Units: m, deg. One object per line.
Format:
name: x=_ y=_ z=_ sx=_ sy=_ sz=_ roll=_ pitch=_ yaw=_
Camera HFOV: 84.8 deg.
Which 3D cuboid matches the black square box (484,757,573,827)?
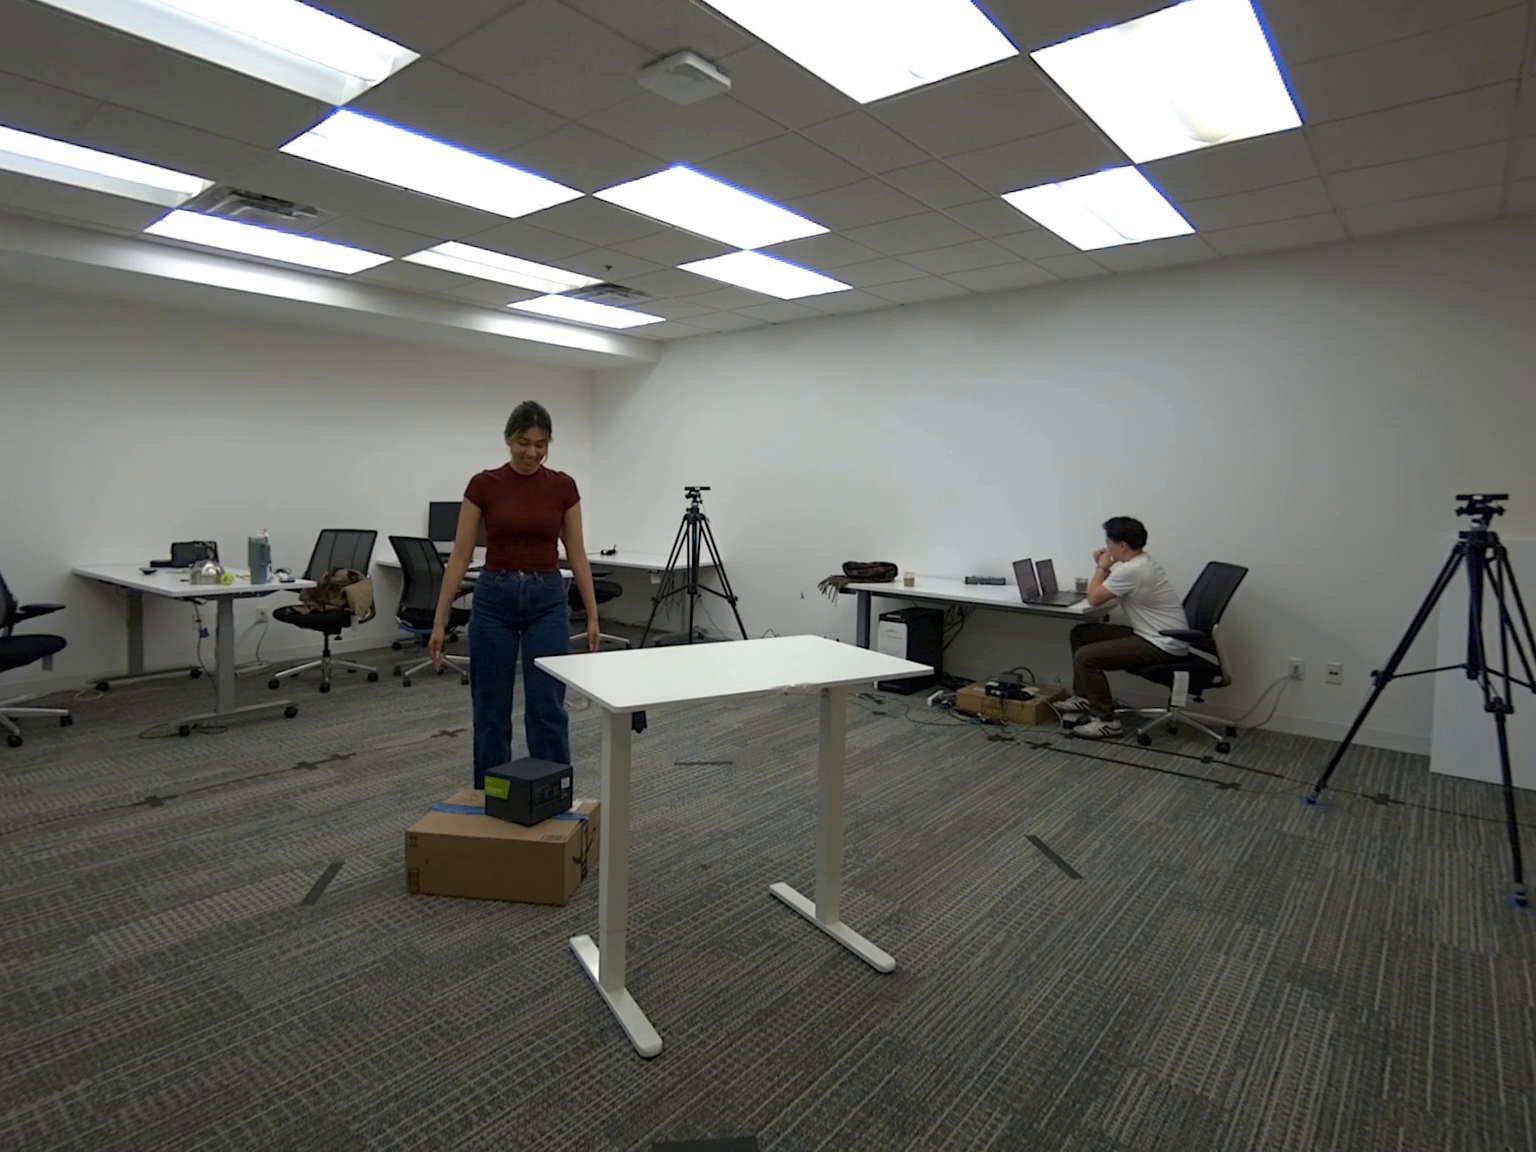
black square box: x=-0.870 y=0.758 z=3.052 sx=0.234 sy=0.156 sz=0.211 roll=2 pitch=2 yaw=31
